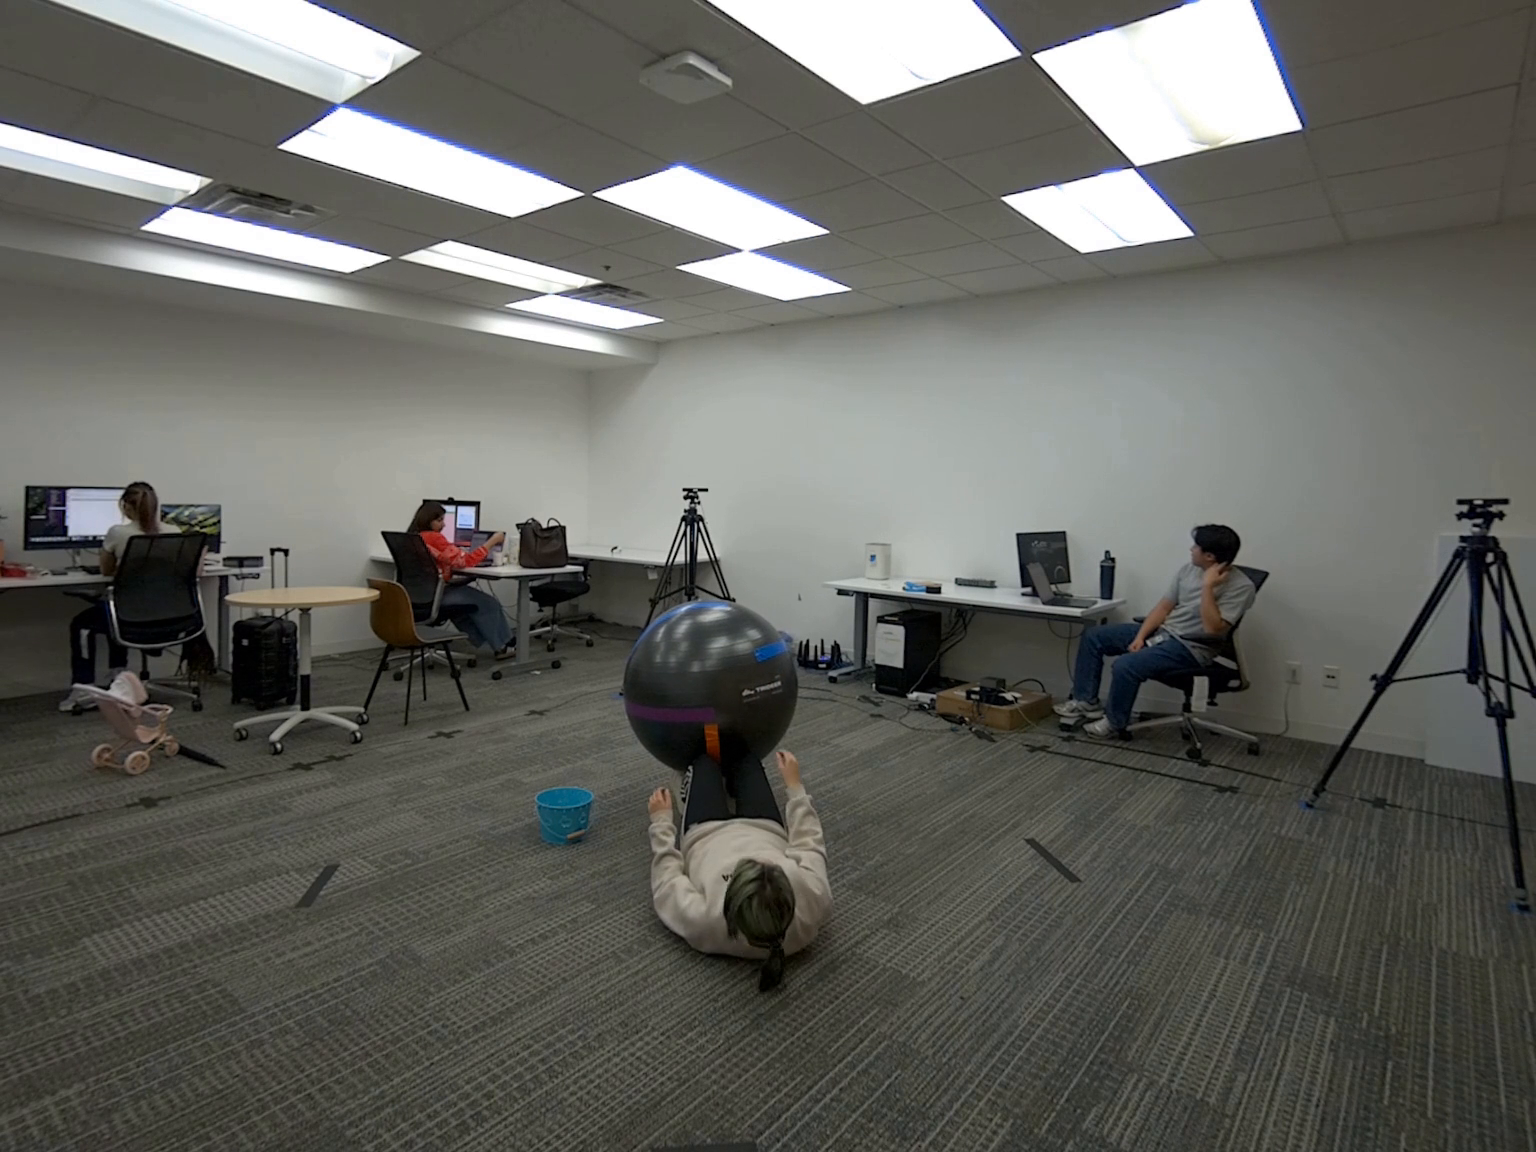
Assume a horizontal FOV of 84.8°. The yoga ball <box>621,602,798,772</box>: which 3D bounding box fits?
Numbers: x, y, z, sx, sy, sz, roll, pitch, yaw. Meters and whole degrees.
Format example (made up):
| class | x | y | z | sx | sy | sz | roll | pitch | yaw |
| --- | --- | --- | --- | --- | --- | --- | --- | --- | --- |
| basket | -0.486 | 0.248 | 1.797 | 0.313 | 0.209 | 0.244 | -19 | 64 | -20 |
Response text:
| class | x | y | z | sx | sy | sz | roll | pitch | yaw |
| --- | --- | --- | --- | --- | --- | --- | --- | --- | --- |
| yoga ball | -0.263 | 0.478 | 3.687 | 0.757 | 0.756 | 0.761 | 1 | 4 | -2 |
